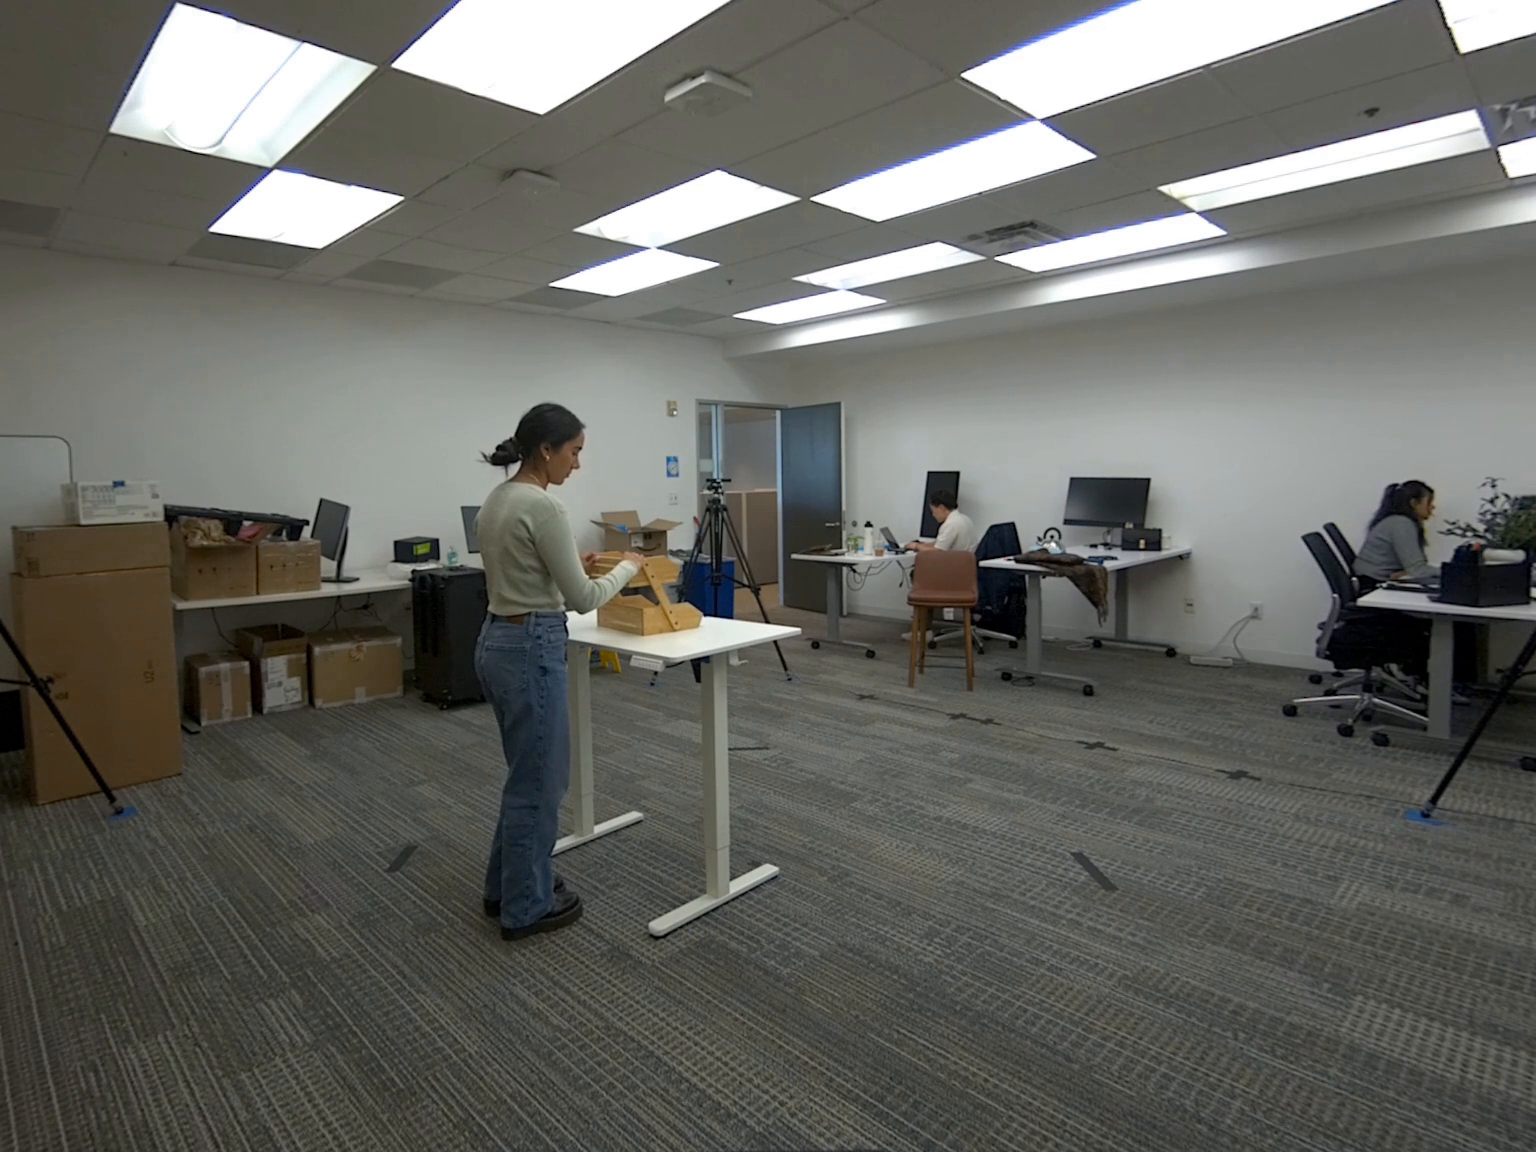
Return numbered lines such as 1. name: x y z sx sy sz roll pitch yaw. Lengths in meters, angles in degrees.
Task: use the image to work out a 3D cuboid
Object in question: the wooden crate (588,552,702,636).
1. wooden crate: -0.439 0.049 2.997 0.294 0.272 0.334 -6 7 -40
